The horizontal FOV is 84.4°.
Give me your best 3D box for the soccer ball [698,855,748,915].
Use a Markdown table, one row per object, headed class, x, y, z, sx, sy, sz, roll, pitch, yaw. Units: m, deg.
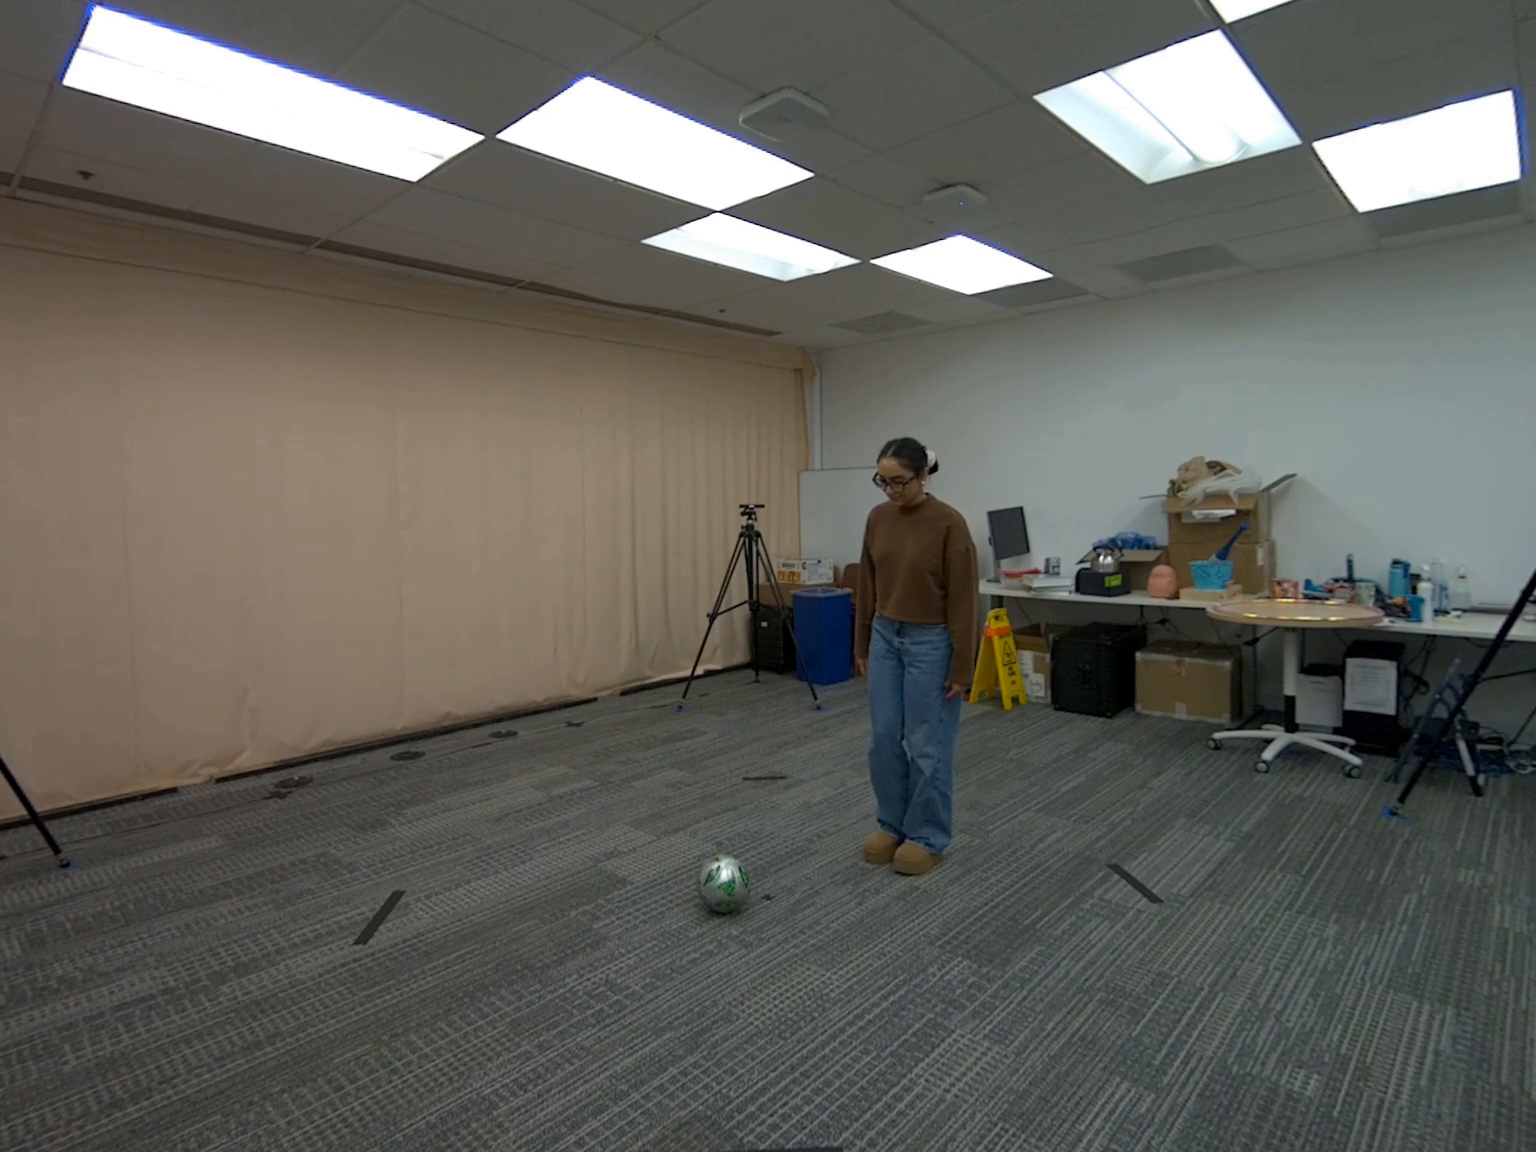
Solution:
| class | x | y | z | sx | sy | sz | roll | pitch | yaw |
| --- | --- | --- | --- | --- | --- | --- | --- | --- | --- |
| soccer ball | -0.151 | 1.053 | 2.892 | 0.187 | 0.187 | 0.188 | -1 | 4 | -2 |
